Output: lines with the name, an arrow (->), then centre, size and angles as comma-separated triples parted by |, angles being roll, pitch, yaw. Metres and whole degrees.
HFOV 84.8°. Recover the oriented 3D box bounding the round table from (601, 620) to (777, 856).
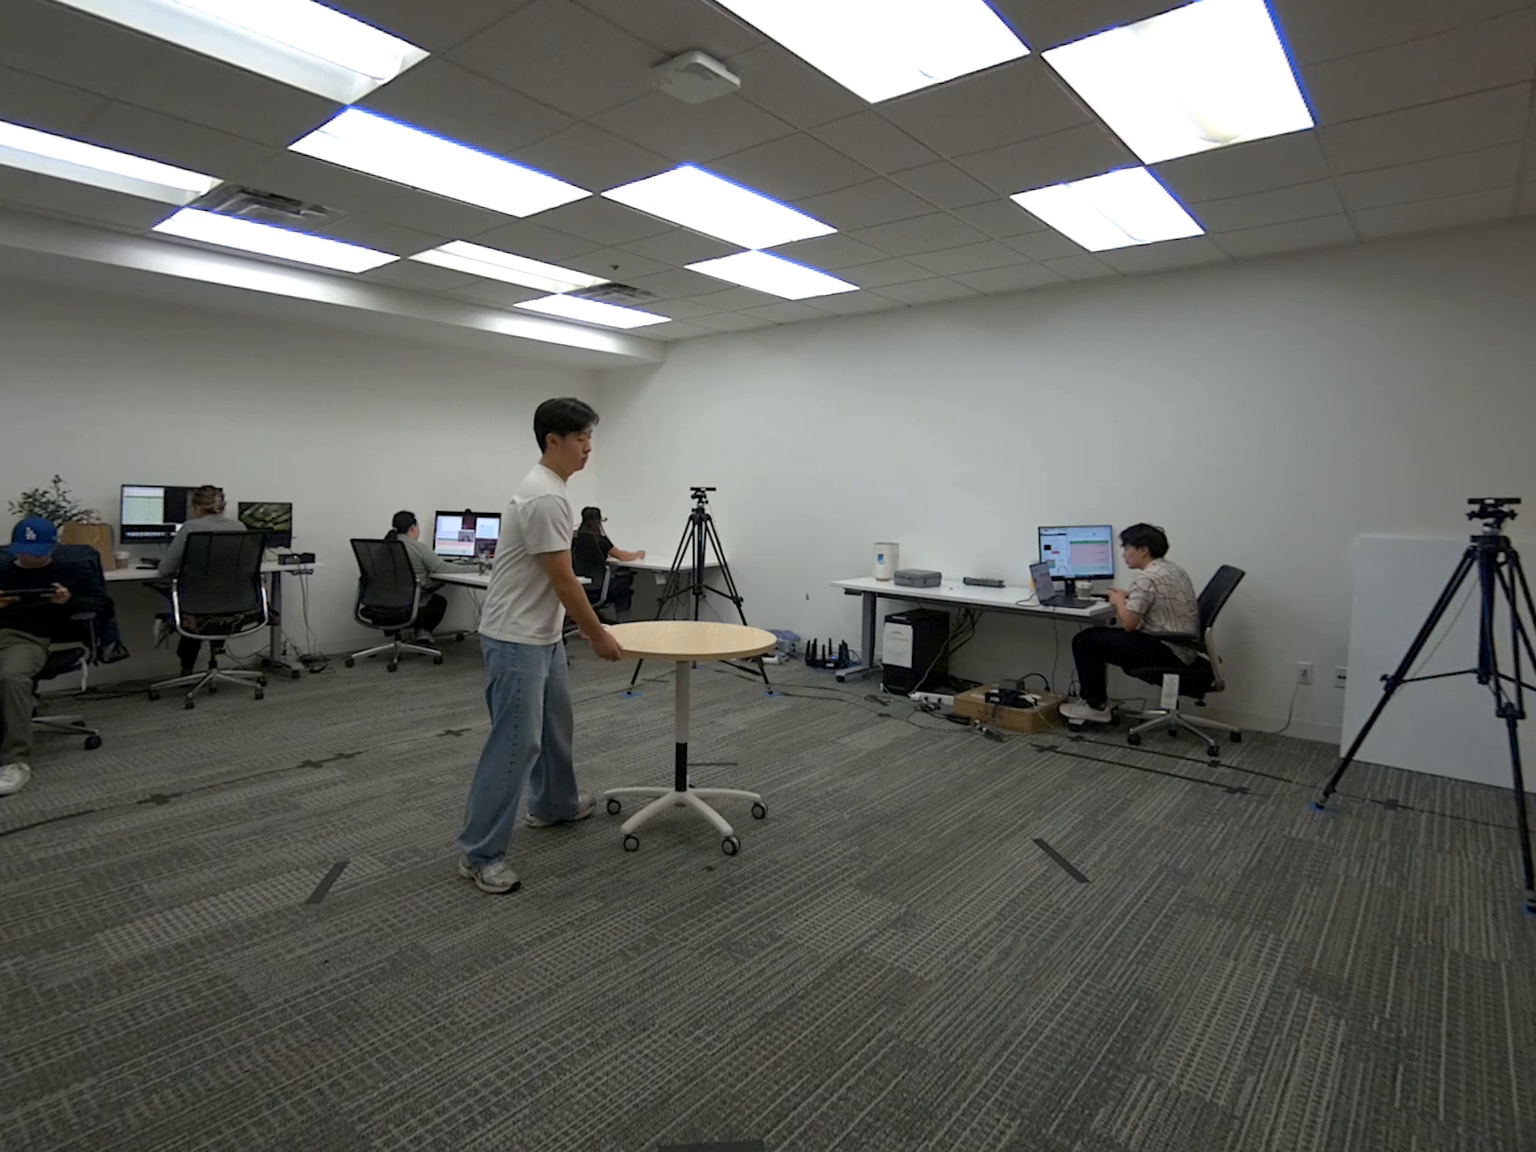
round table -> -0.361, 0.639, 3.496 | 0.763, 0.791, 0.768 | 1, 4, -2
